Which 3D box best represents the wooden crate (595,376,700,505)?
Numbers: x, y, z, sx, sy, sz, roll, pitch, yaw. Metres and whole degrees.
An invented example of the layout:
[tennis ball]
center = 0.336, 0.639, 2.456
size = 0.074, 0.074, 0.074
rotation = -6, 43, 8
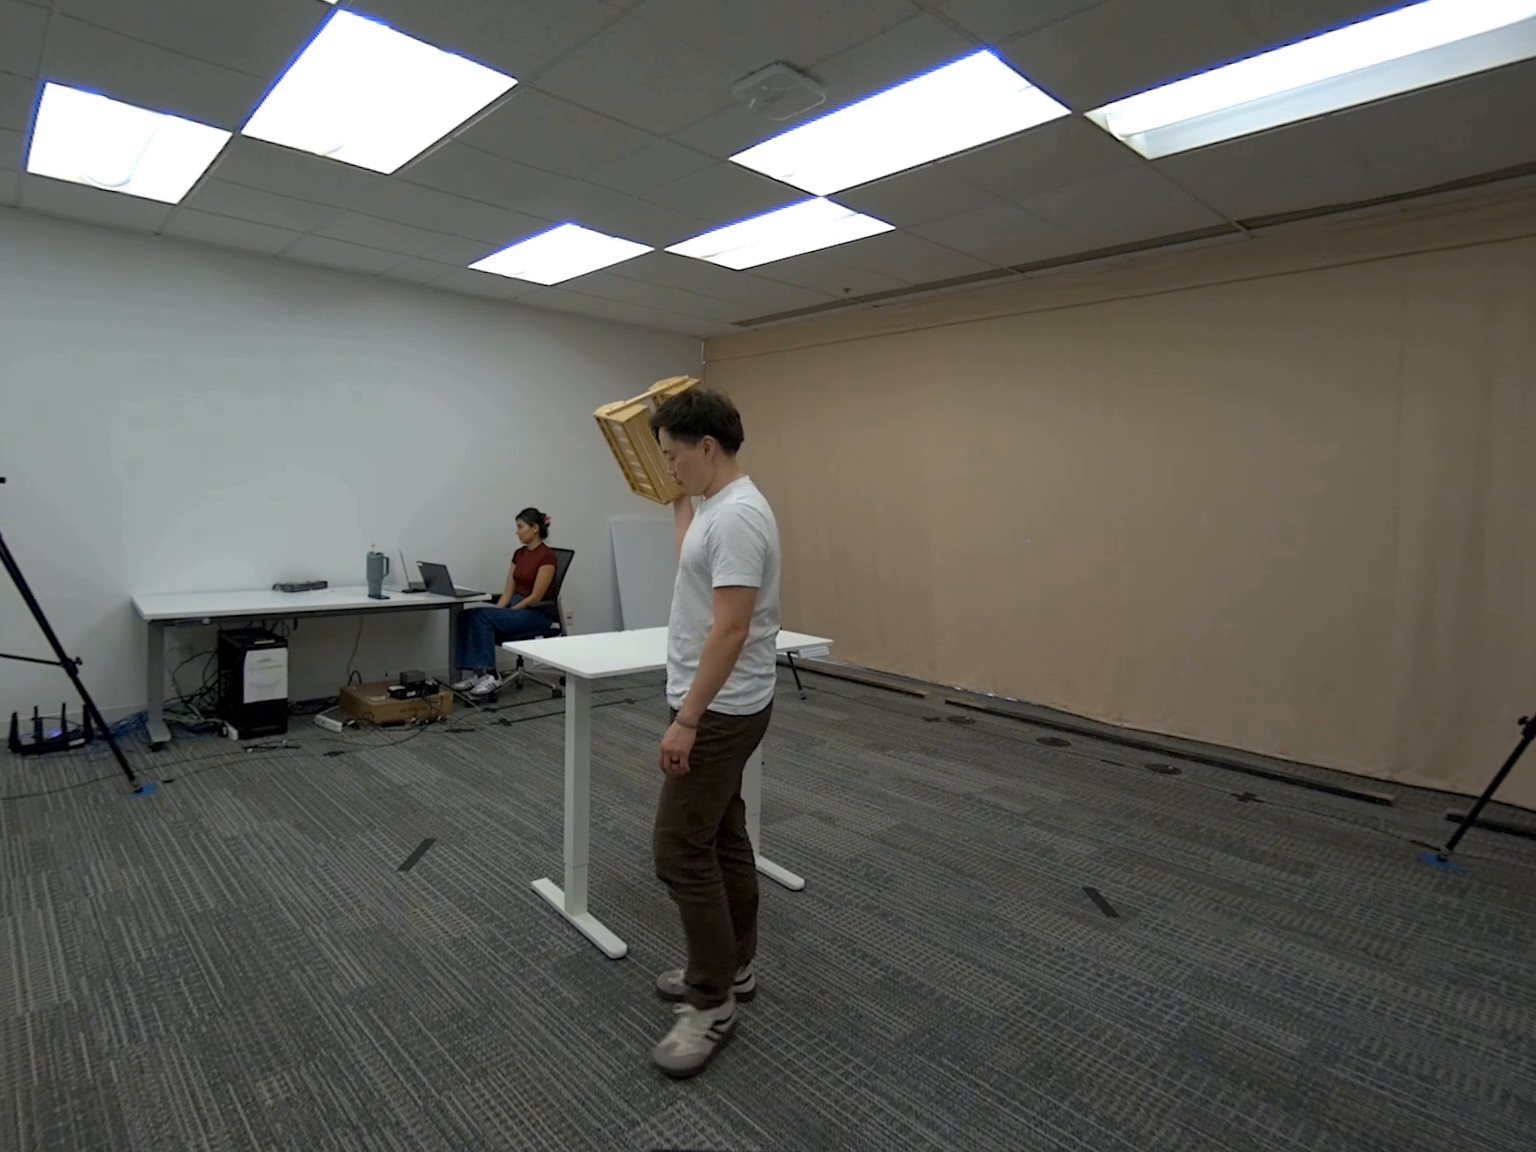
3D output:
[wooden crate]
center = -0.330, -0.434, 2.652
size = 0.272, 0.316, 0.311
rotation = -36, 31, -20
